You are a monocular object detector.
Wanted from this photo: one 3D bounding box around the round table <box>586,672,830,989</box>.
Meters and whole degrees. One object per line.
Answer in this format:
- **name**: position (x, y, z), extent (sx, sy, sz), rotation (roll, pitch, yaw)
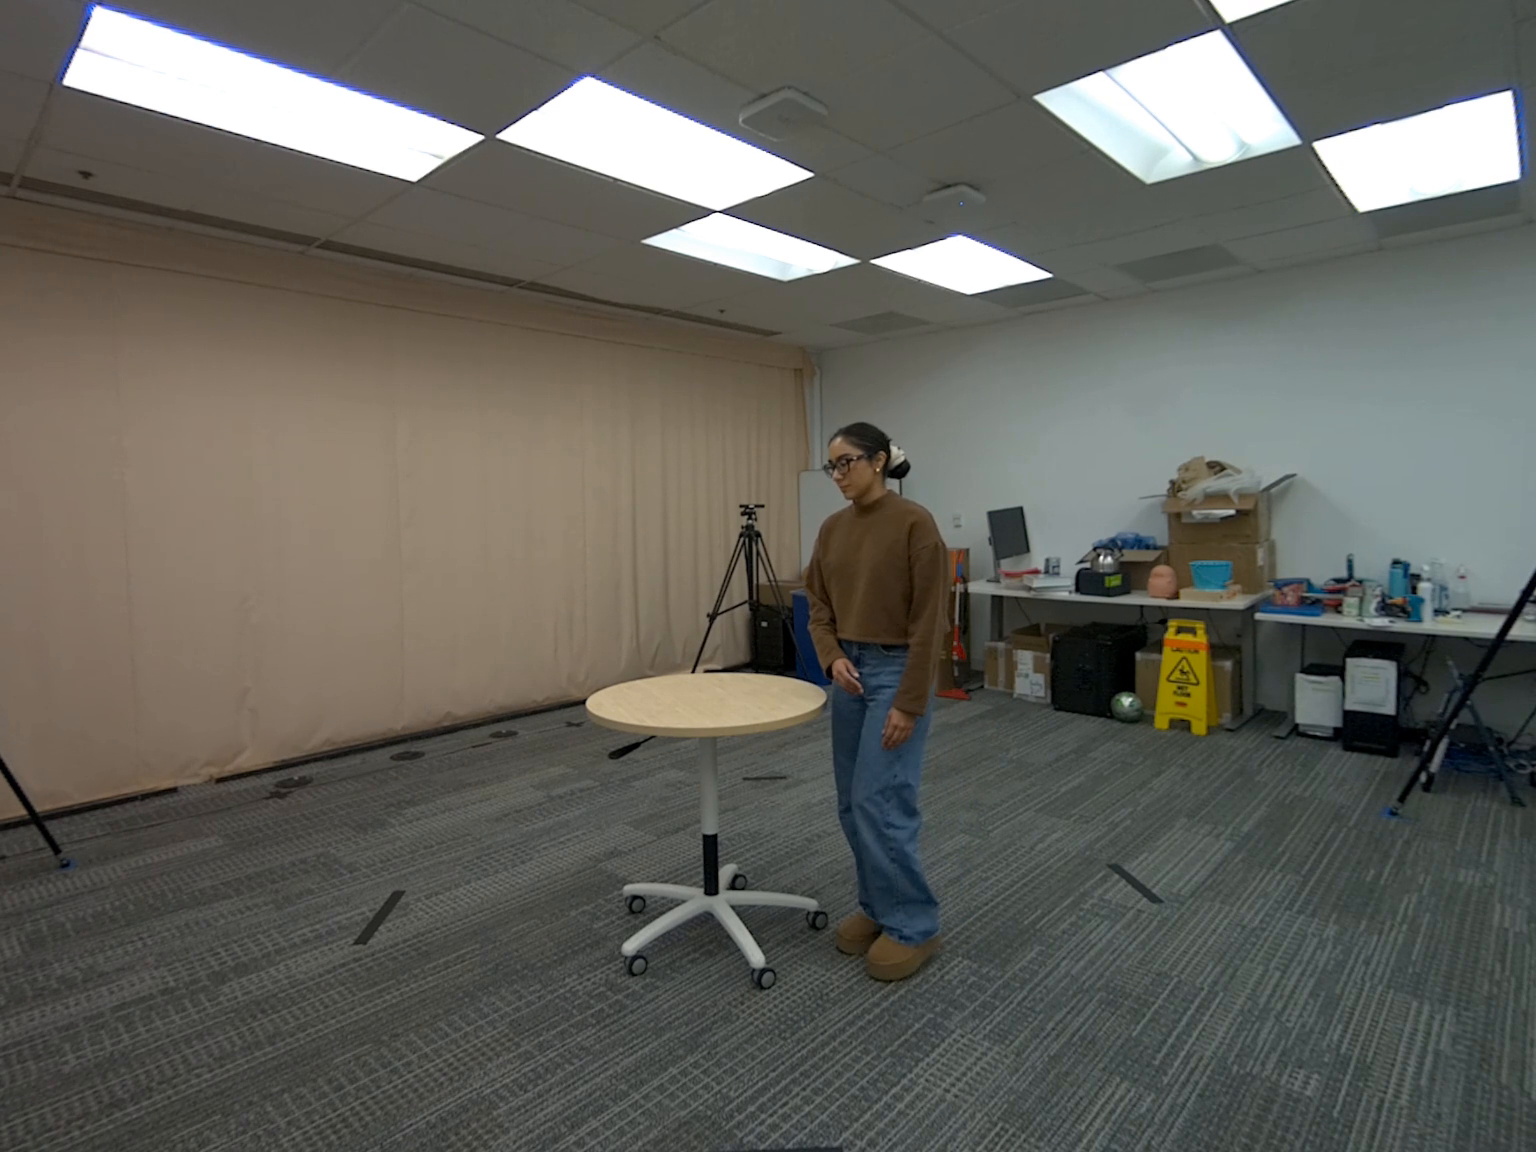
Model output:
- **round table**: position (-0.184, 0.781, 2.708), extent (0.763, 0.792, 0.766), rotation (-2, 4, -2)
